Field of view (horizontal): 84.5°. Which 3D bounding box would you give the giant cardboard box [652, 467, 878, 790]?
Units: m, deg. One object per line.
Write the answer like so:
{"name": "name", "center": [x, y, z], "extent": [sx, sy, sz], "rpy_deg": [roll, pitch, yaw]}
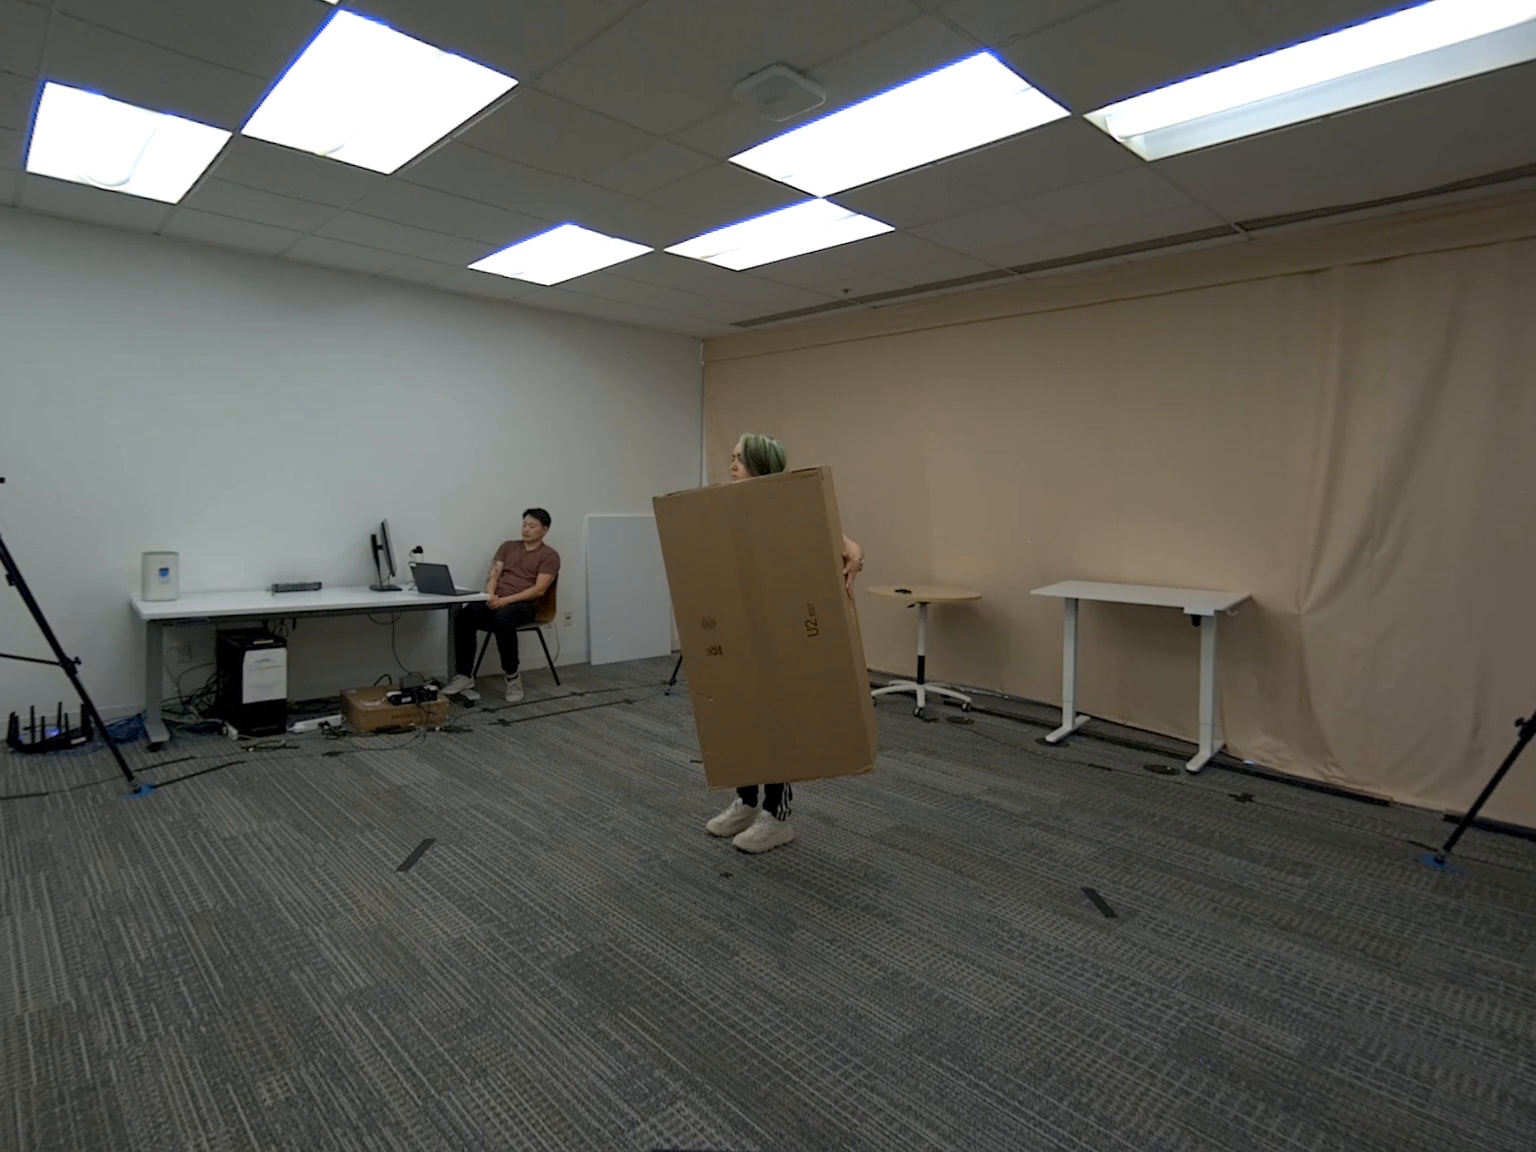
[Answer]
{"name": "giant cardboard box", "center": [-0.001, 0.168, 2.985], "extent": [0.582, 1.023, 0.424], "rpy_deg": [-9, 4, 13]}
